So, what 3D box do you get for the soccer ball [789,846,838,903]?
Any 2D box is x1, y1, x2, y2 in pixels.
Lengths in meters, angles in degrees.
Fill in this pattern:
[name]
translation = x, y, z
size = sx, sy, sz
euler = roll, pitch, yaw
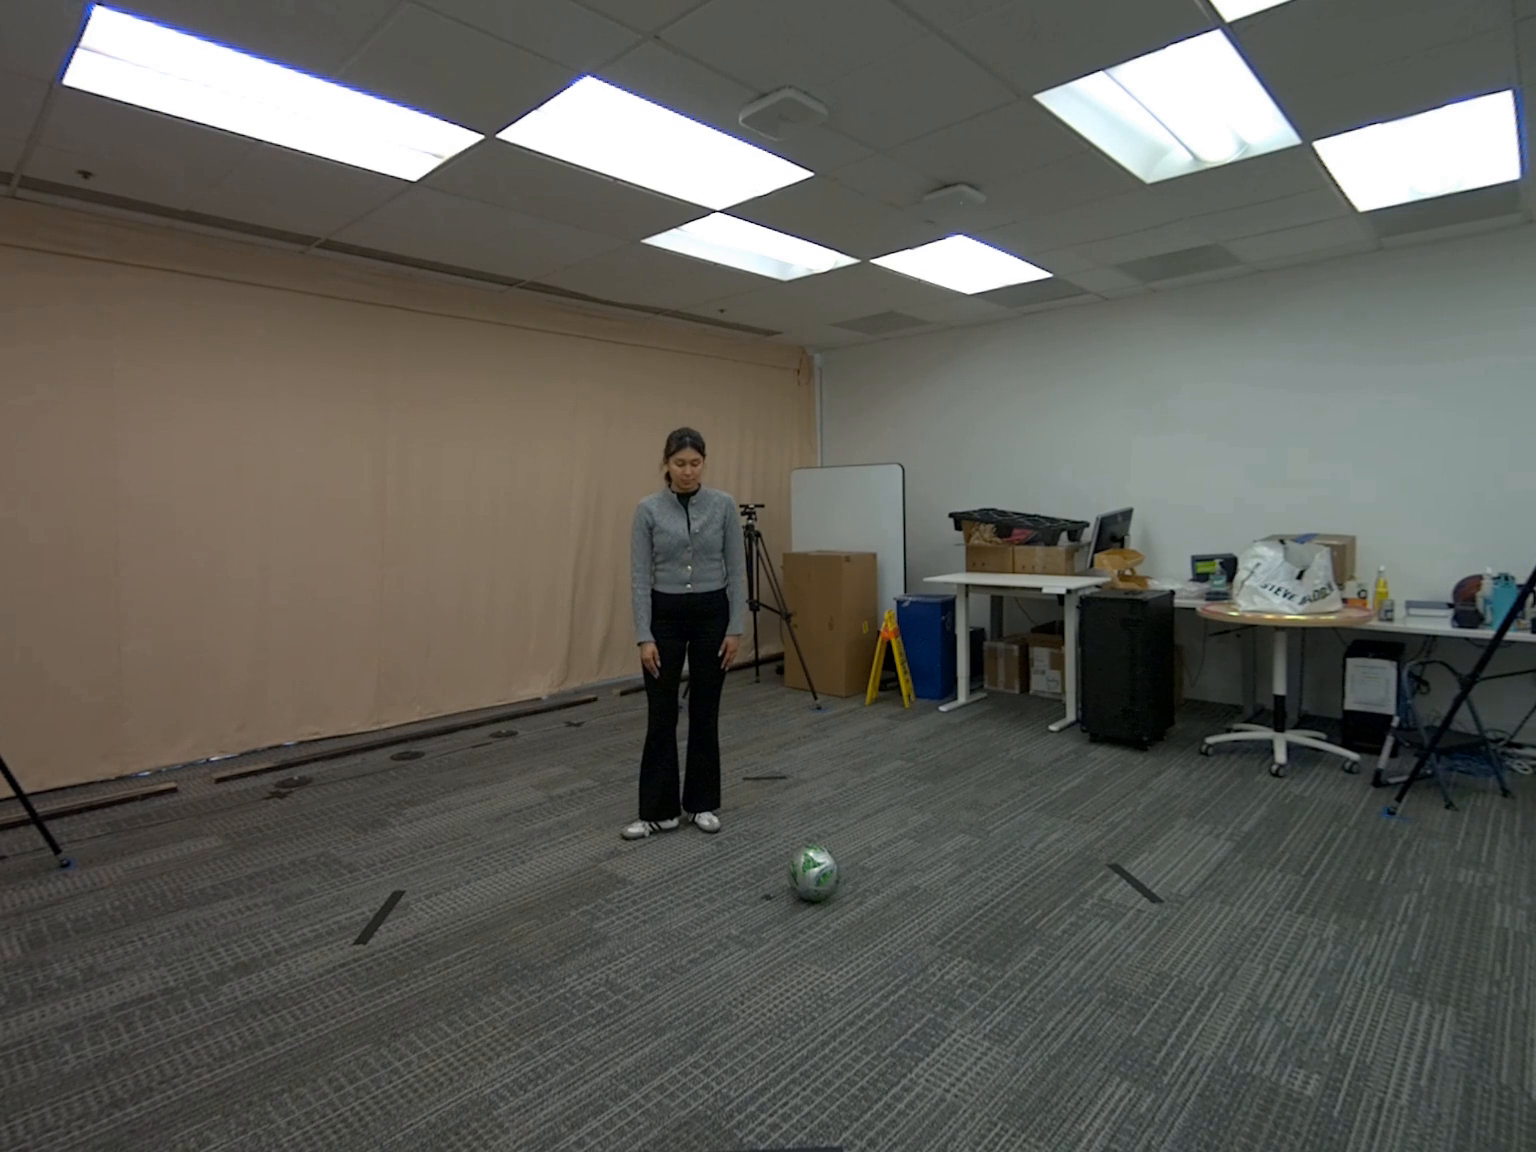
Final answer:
[soccer ball]
translation = 0.160, 1.044, 2.967
size = 0.187, 0.187, 0.188
euler = -1, 4, -2
